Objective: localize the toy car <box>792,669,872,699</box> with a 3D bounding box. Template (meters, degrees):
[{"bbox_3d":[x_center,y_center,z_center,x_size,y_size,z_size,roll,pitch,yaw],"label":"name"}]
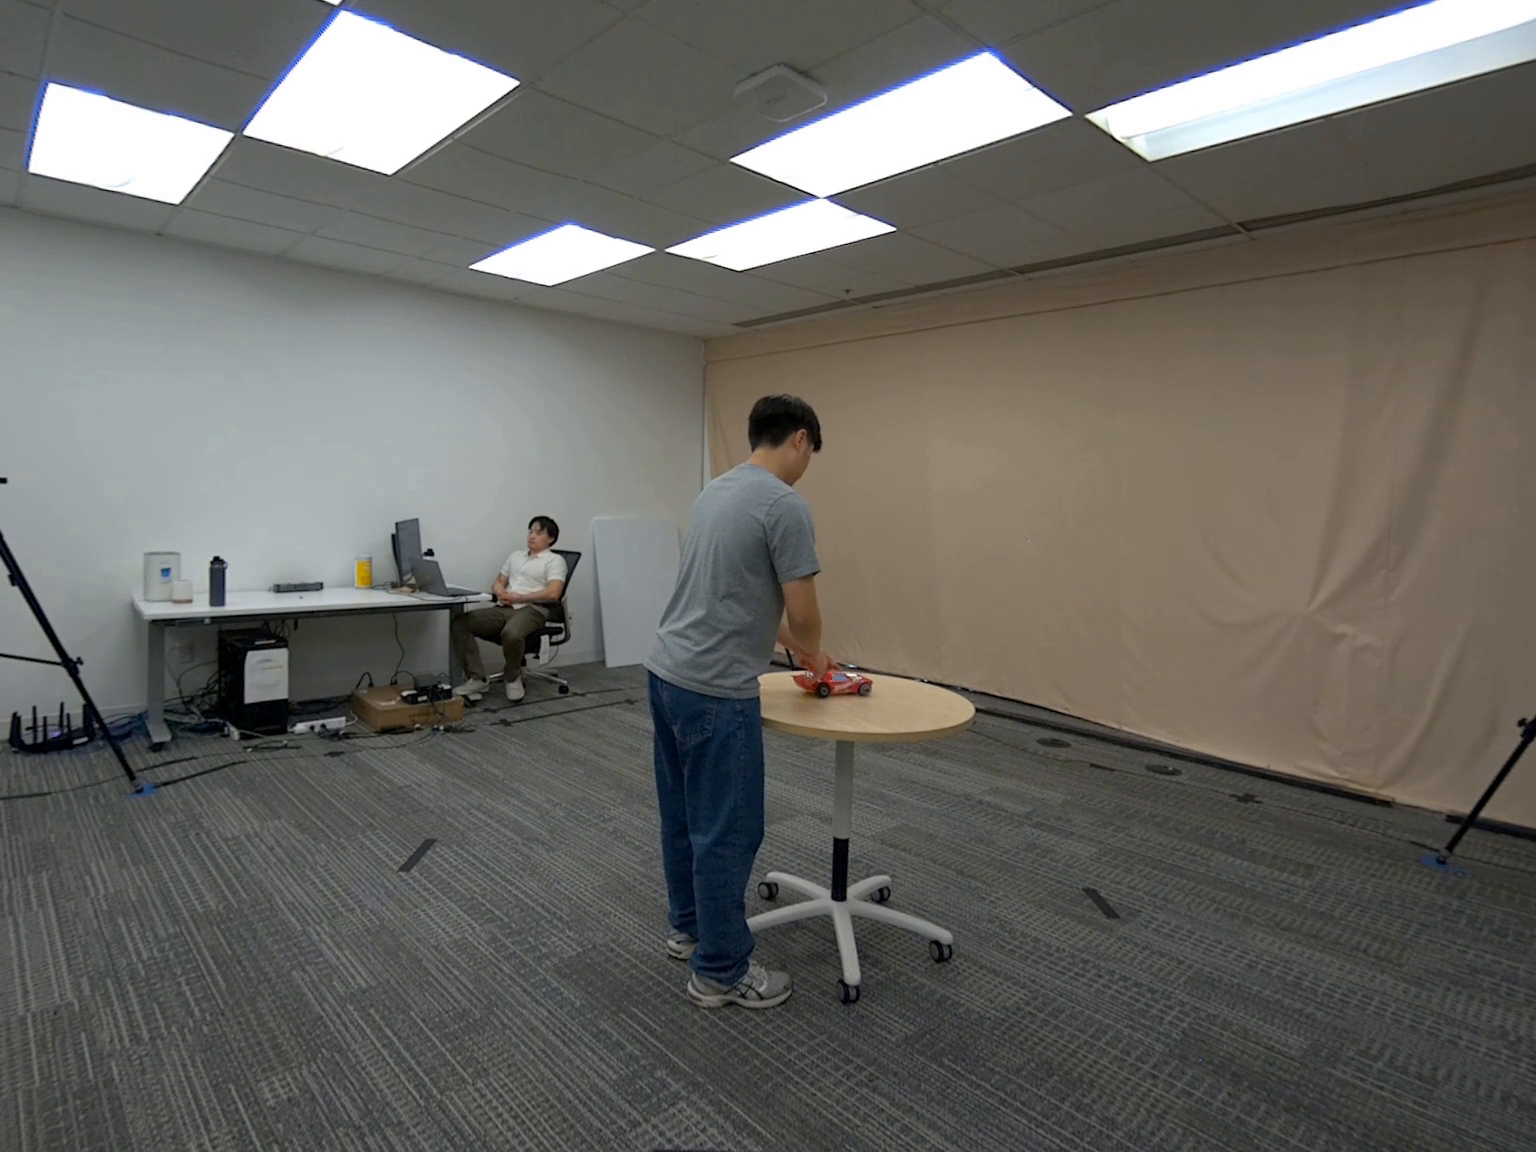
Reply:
[{"bbox_3d":[0.193,0.341,2.643,0.250,0.083,0.132,13,2,-18],"label":"toy car"}]
